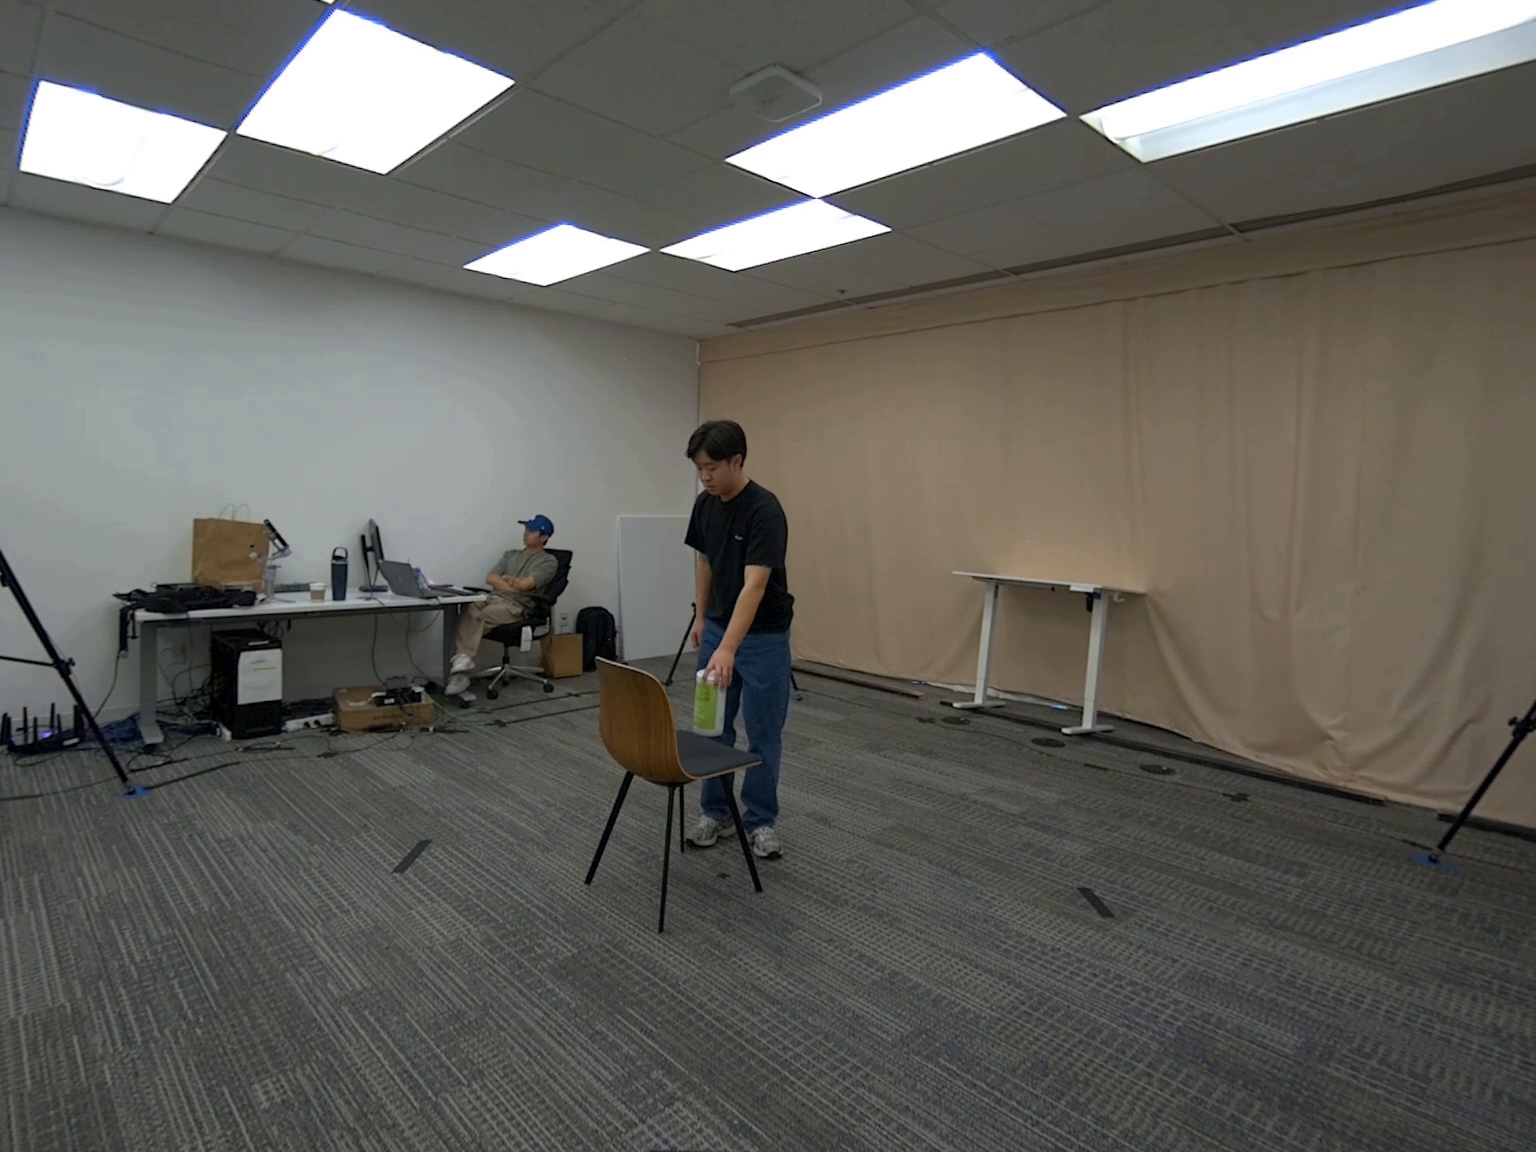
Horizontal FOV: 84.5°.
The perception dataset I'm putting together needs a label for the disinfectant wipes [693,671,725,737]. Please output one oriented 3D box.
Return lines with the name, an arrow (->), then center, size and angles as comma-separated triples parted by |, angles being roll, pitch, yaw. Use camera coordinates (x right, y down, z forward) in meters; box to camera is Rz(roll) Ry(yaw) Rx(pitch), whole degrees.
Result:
disinfectant wipes -> -0.210, 0.450, 2.981 | 0.117, 0.216, 0.118 | 5, 7, -2
